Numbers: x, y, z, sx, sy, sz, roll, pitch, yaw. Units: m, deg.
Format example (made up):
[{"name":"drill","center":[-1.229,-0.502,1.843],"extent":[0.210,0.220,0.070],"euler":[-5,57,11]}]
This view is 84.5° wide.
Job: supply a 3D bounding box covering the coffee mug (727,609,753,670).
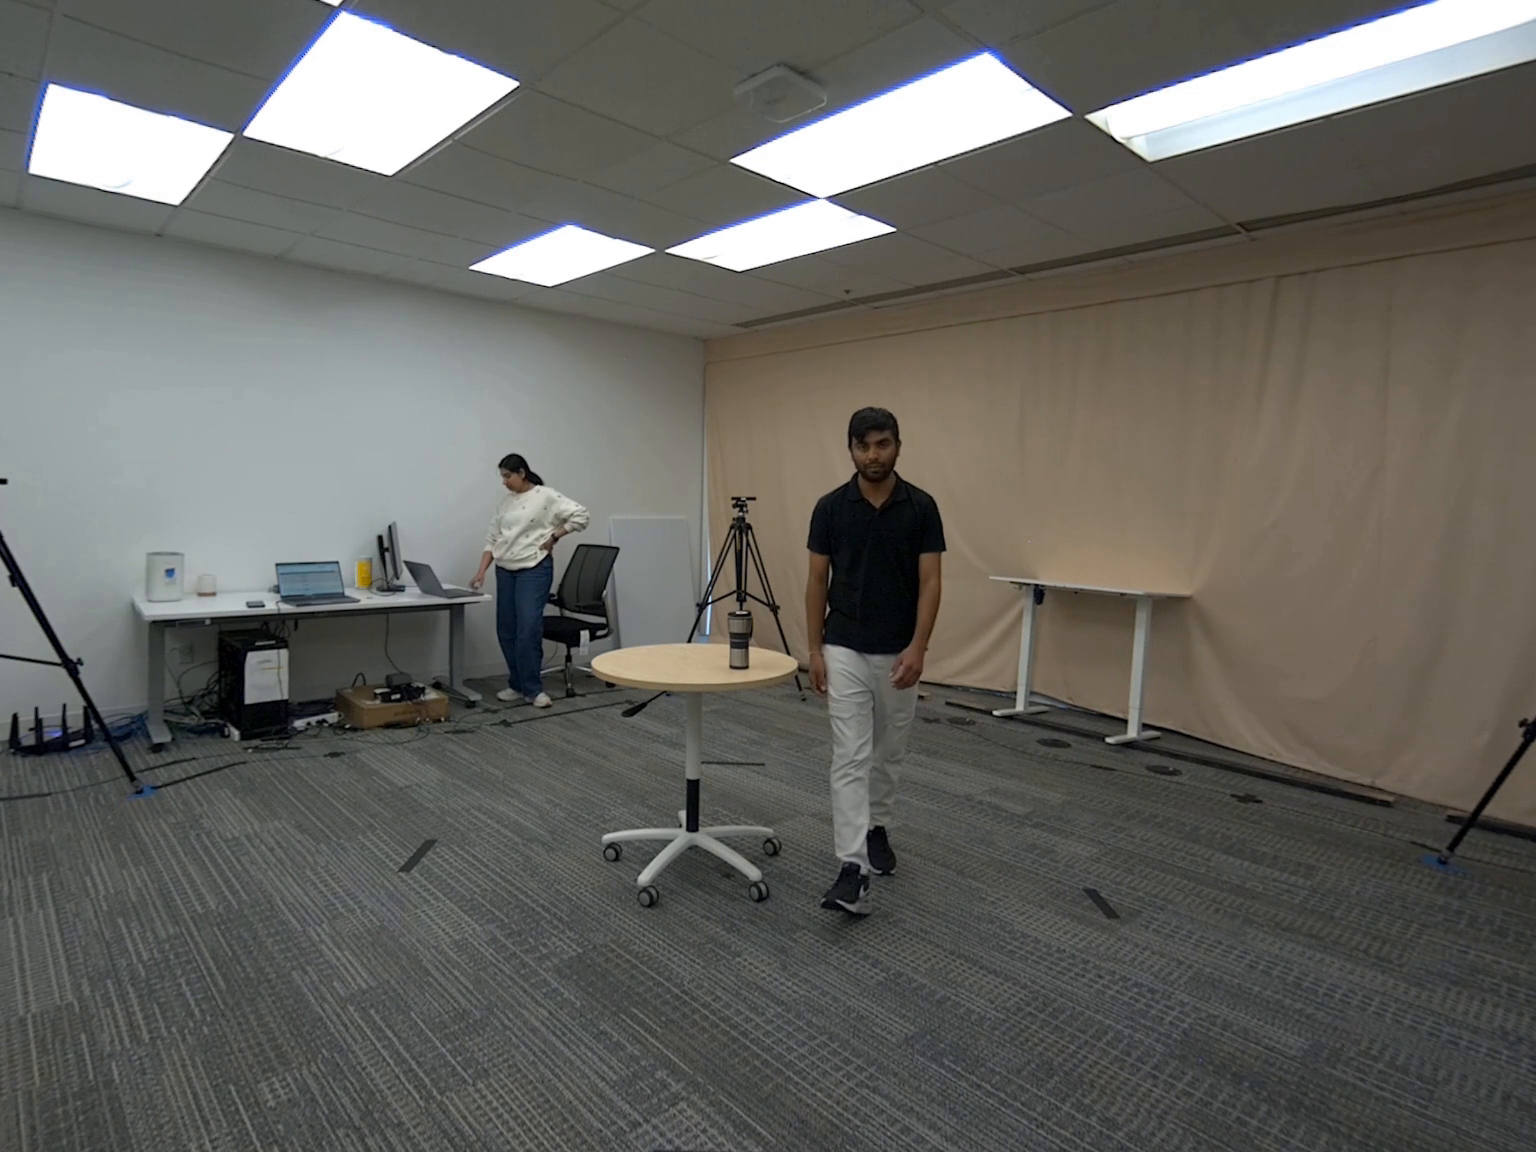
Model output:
[{"name":"coffee mug","center":[-0.088,0.228,3.031],"extent":[0.119,0.203,0.090],"euler":[-2,0,-34]}]
